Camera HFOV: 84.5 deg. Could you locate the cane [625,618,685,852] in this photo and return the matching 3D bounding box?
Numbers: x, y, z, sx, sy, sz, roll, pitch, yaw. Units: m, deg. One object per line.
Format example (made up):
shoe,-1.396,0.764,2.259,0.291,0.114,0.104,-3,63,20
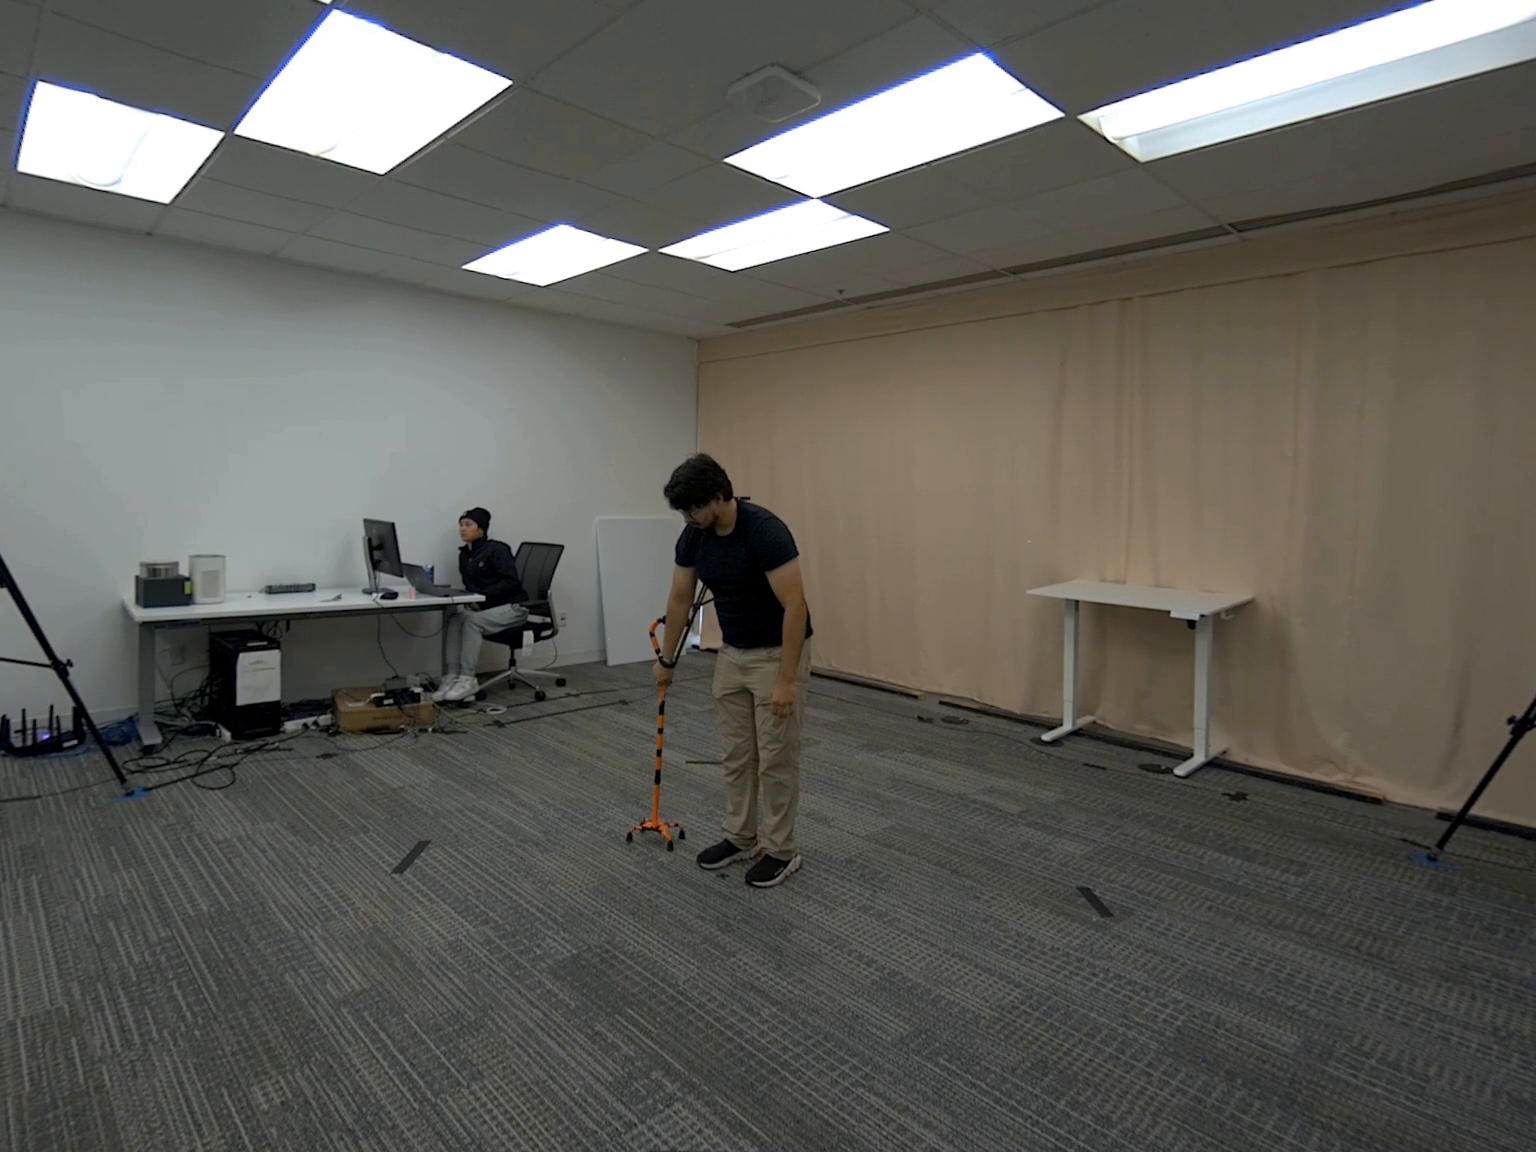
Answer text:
cane,-0.440,0.606,3.380,0.209,0.906,0.150,3,3,16
